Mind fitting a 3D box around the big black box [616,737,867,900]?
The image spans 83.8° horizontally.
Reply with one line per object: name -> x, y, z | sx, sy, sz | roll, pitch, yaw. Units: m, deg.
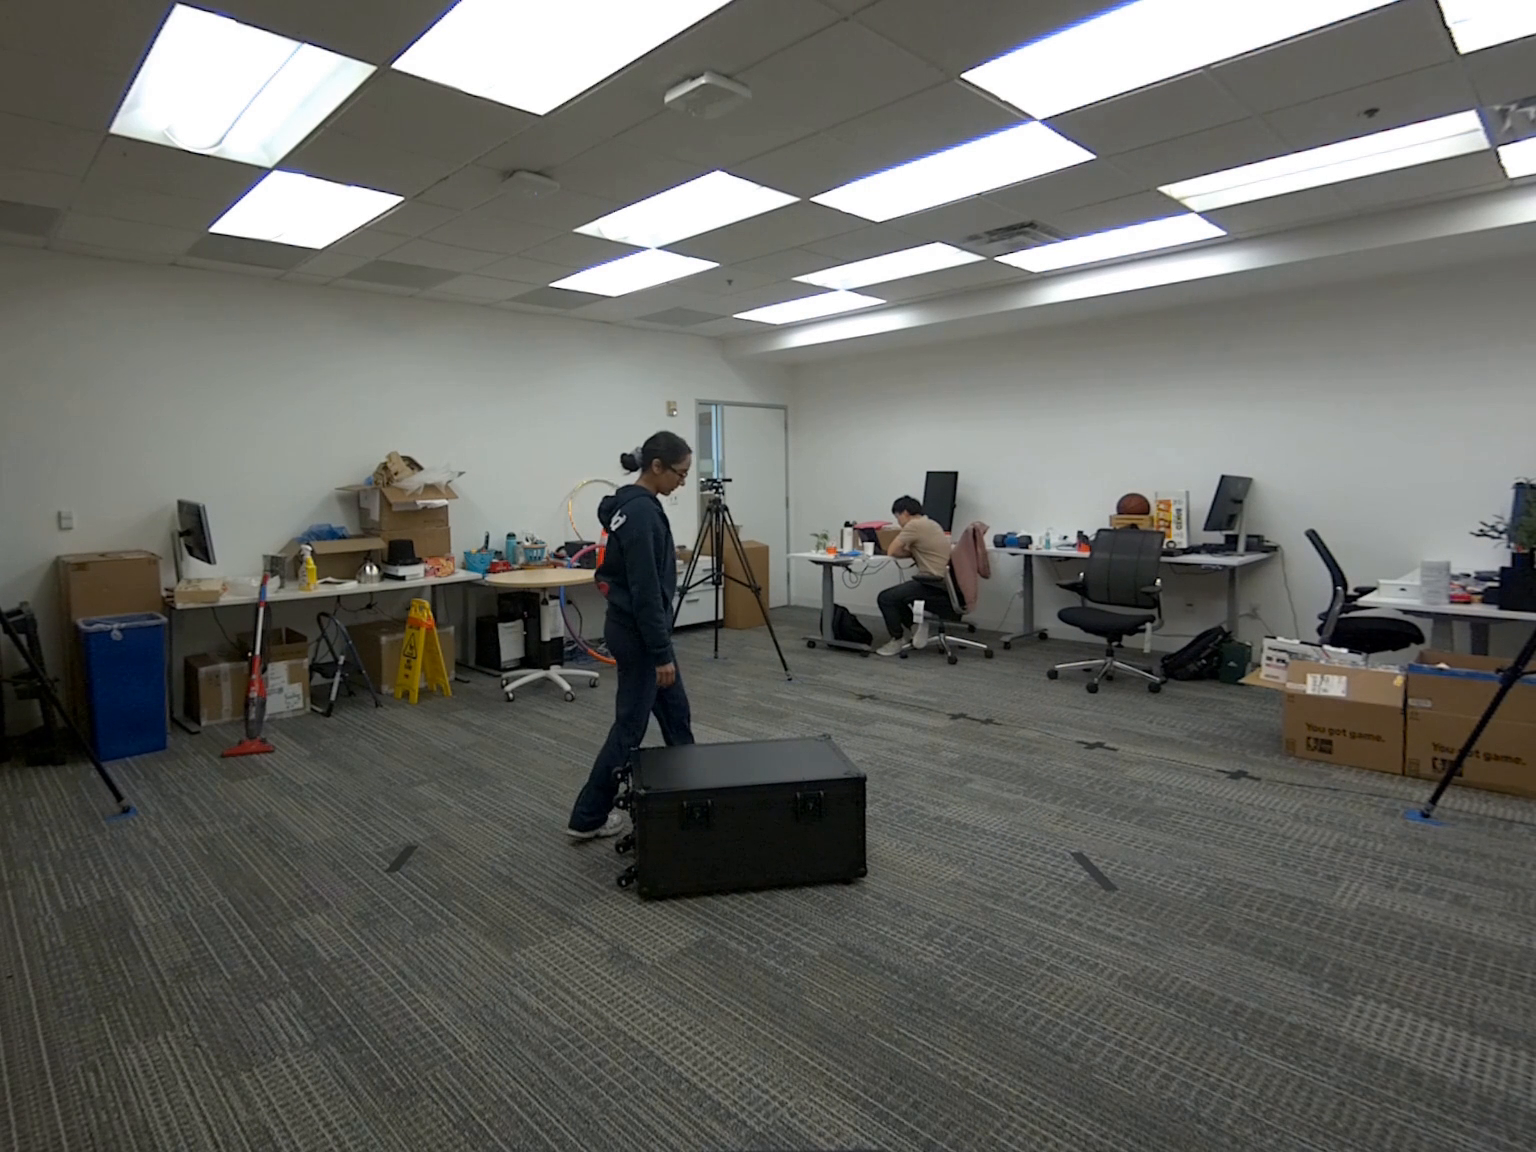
big black box -> -0.123, 0.856, 3.092 | 0.854, 0.395, 0.528 | -2, 5, -9
